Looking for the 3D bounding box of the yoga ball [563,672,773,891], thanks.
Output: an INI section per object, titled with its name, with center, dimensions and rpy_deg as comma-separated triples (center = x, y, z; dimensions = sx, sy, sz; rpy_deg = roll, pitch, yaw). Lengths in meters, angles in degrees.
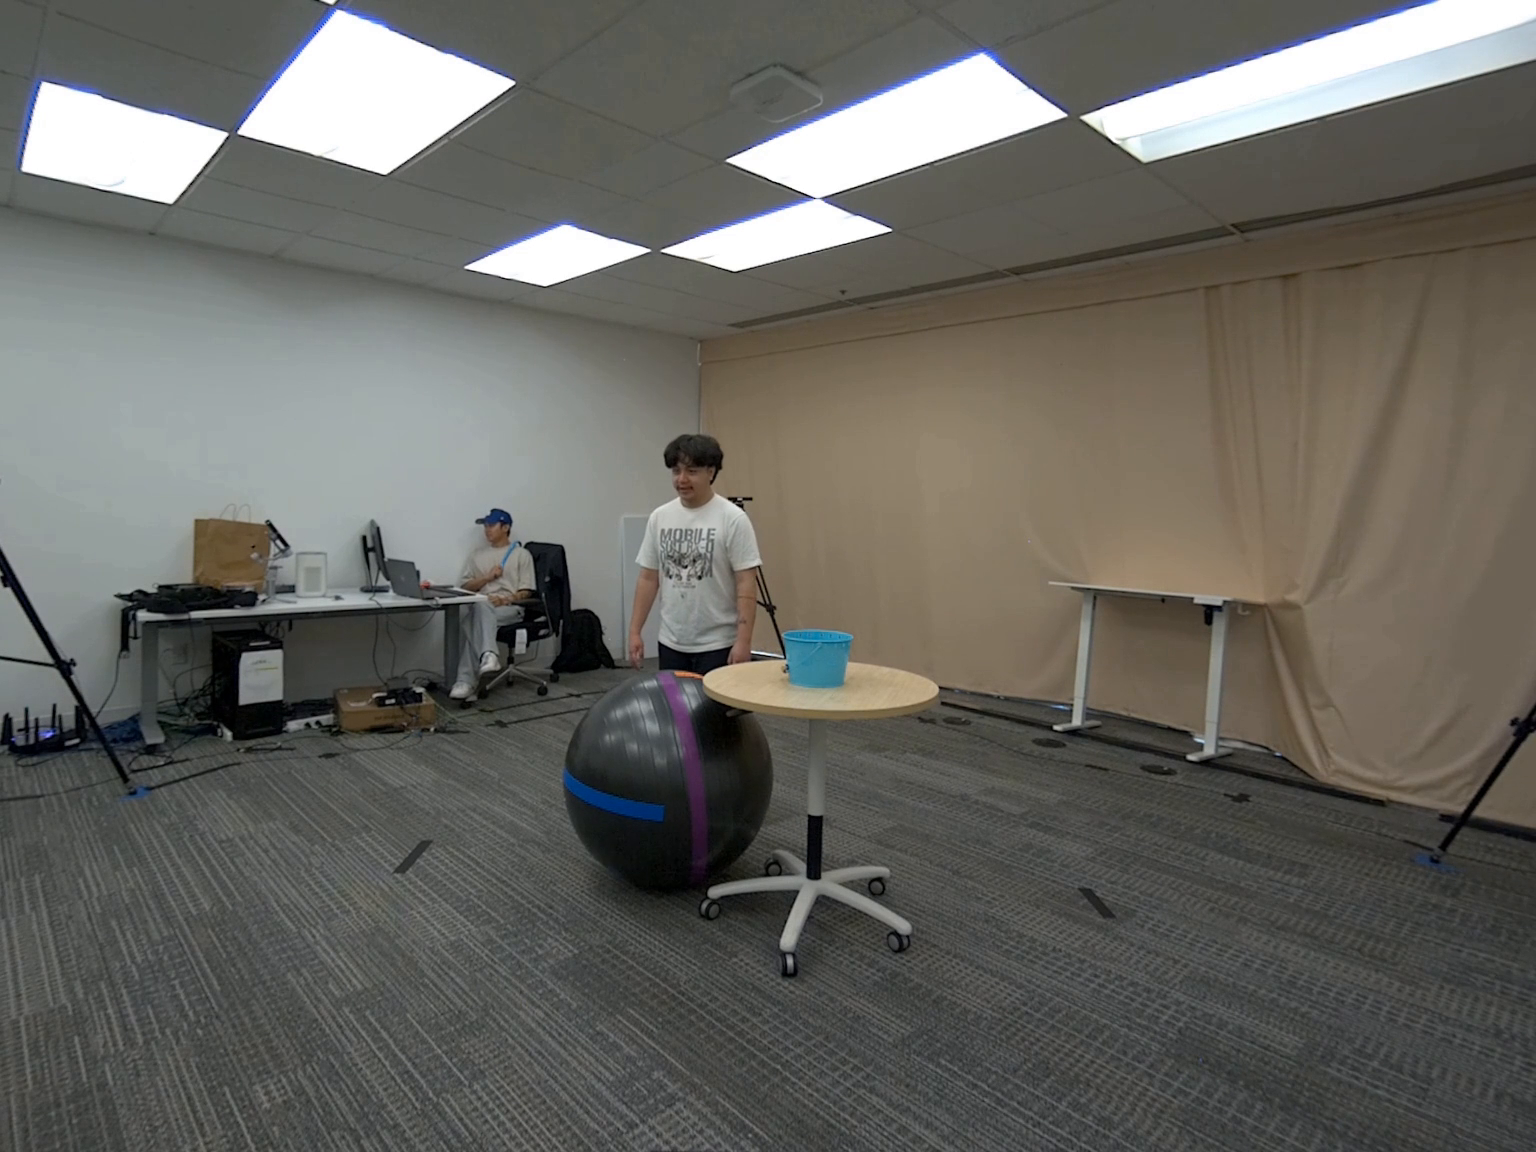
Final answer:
[yoga ball]
center = -0.372, 0.735, 3.073
dimensions = 0.757, 0.756, 0.761
rpy_deg = 1, 4, -1
